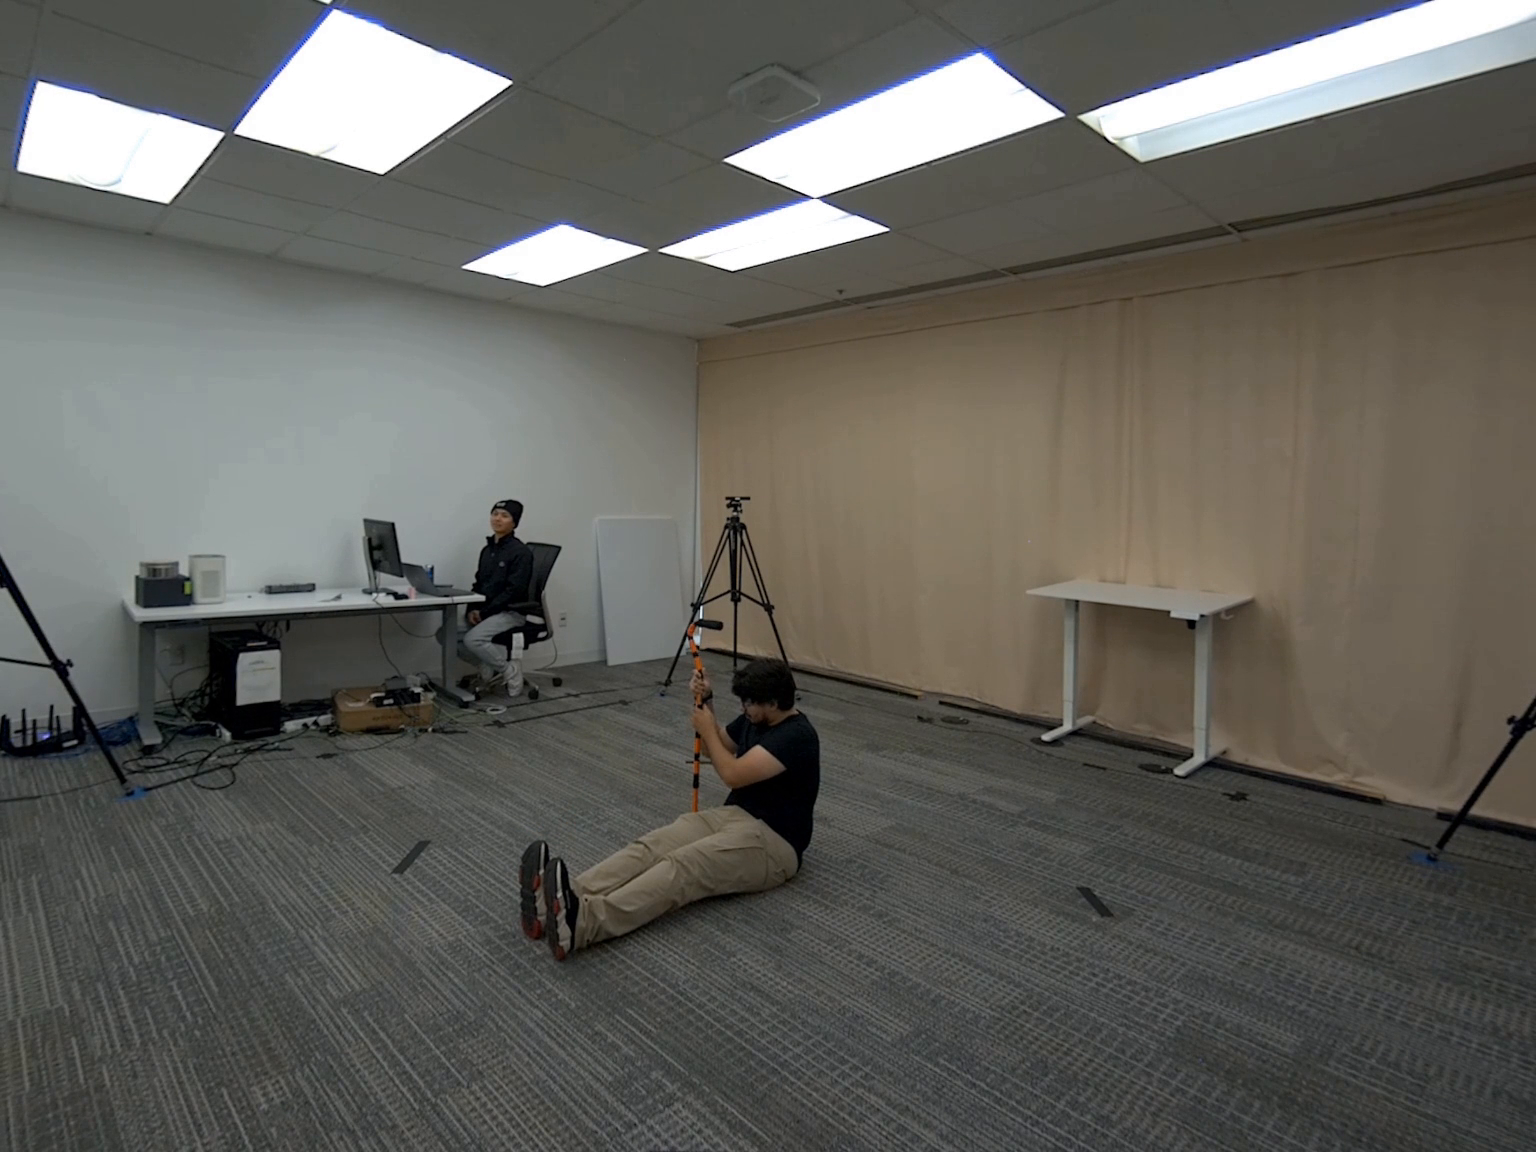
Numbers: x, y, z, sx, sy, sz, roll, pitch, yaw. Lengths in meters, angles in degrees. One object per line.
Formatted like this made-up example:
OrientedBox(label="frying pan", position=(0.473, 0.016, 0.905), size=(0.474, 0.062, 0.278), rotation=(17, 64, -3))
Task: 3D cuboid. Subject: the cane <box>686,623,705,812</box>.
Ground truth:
OrientedBox(label="cane", position=(-0.278, 0.621, 3.363), size=(0.211, 0.906, 0.148), rotation=(4, 3, 35))
